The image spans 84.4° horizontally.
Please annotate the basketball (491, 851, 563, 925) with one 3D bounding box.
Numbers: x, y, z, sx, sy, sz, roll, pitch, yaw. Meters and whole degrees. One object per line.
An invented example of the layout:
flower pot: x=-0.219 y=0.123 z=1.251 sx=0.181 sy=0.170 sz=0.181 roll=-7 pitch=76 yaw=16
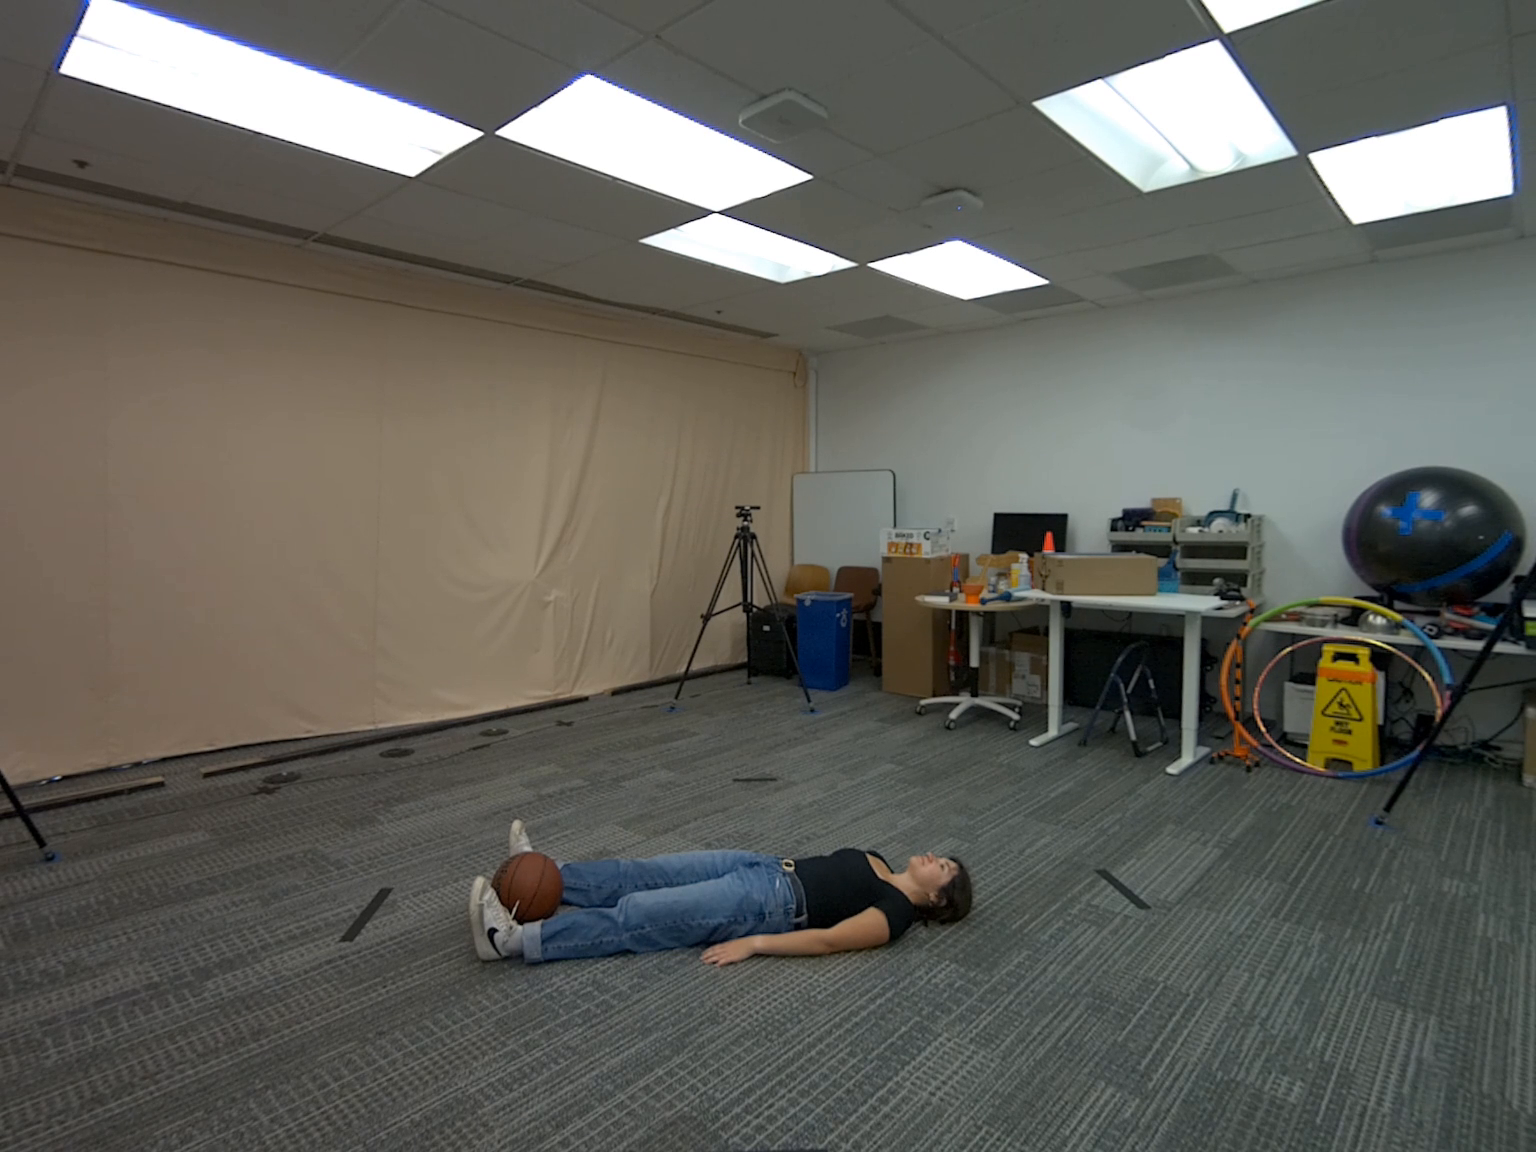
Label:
basketball: x=-0.803 y=1.042 z=2.804 sx=0.236 sy=0.235 sz=0.237 roll=0 pitch=4 yaw=-2
